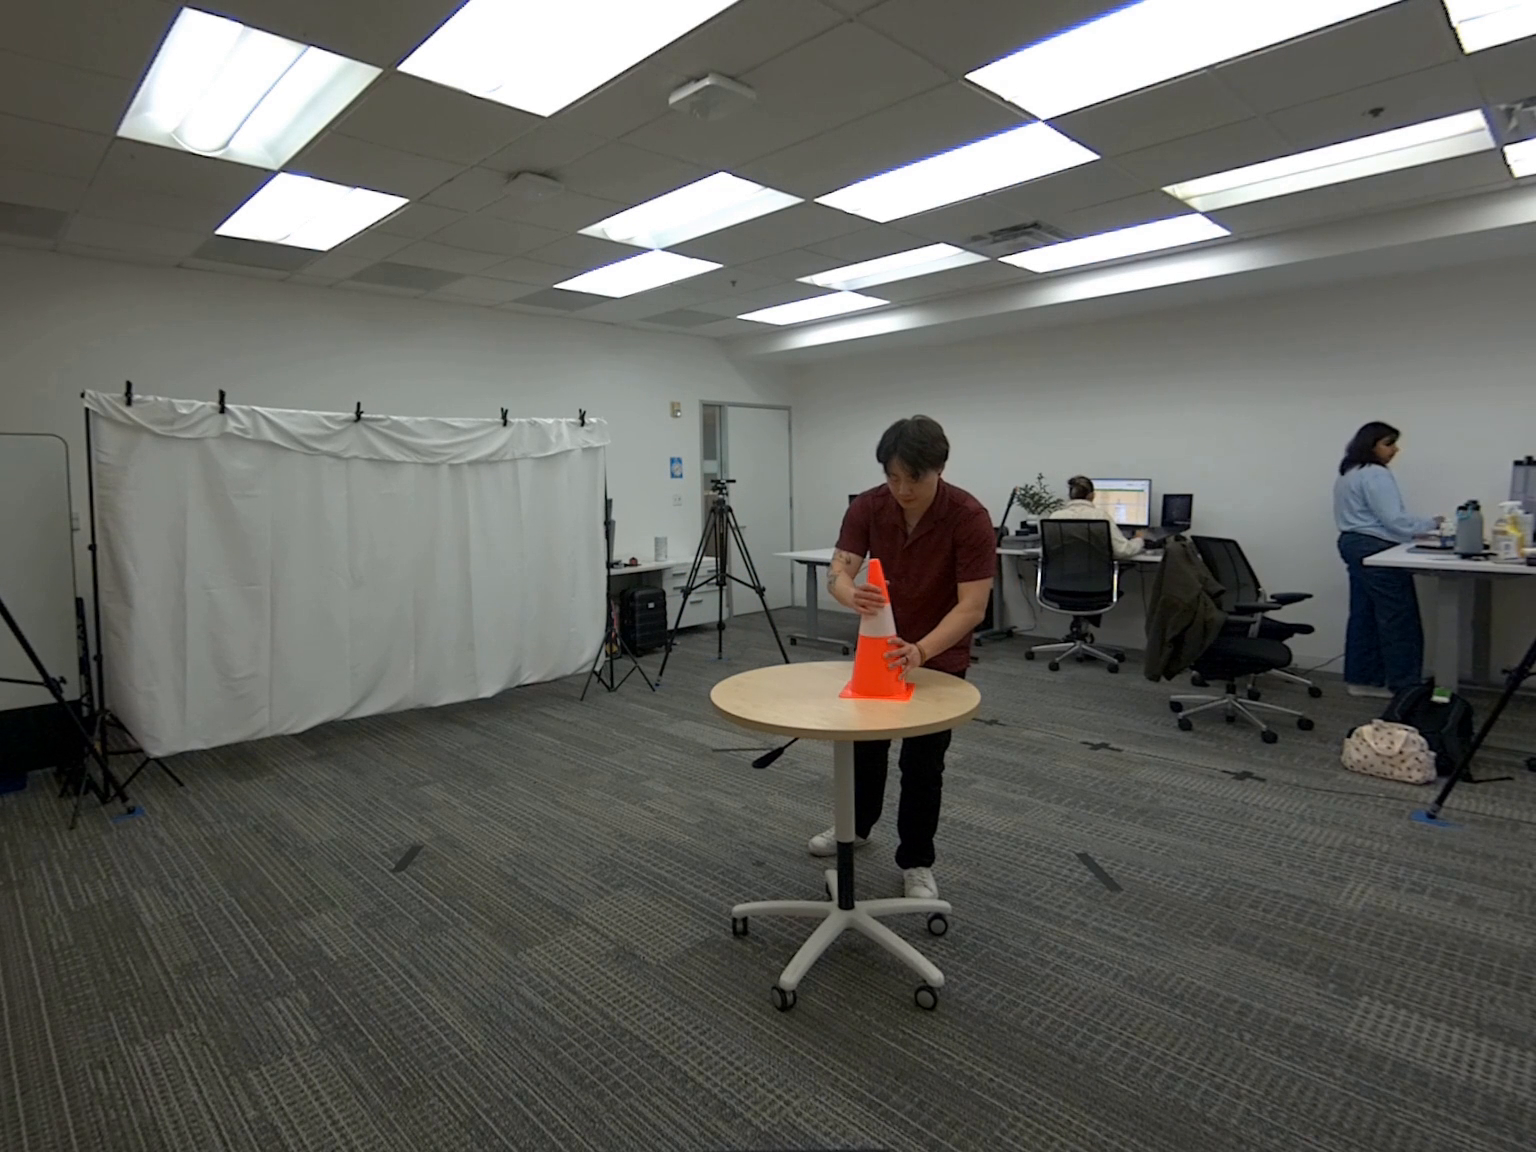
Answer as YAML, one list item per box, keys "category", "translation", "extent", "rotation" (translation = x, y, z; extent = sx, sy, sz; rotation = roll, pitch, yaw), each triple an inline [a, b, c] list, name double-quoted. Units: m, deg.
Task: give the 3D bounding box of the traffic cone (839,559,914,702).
- category: "traffic cone"
  translation: [0.323, 0.149, 2.433]
  extent: [0.205, 0.381, 0.205]
  rotation: [-2, 6, 7]
